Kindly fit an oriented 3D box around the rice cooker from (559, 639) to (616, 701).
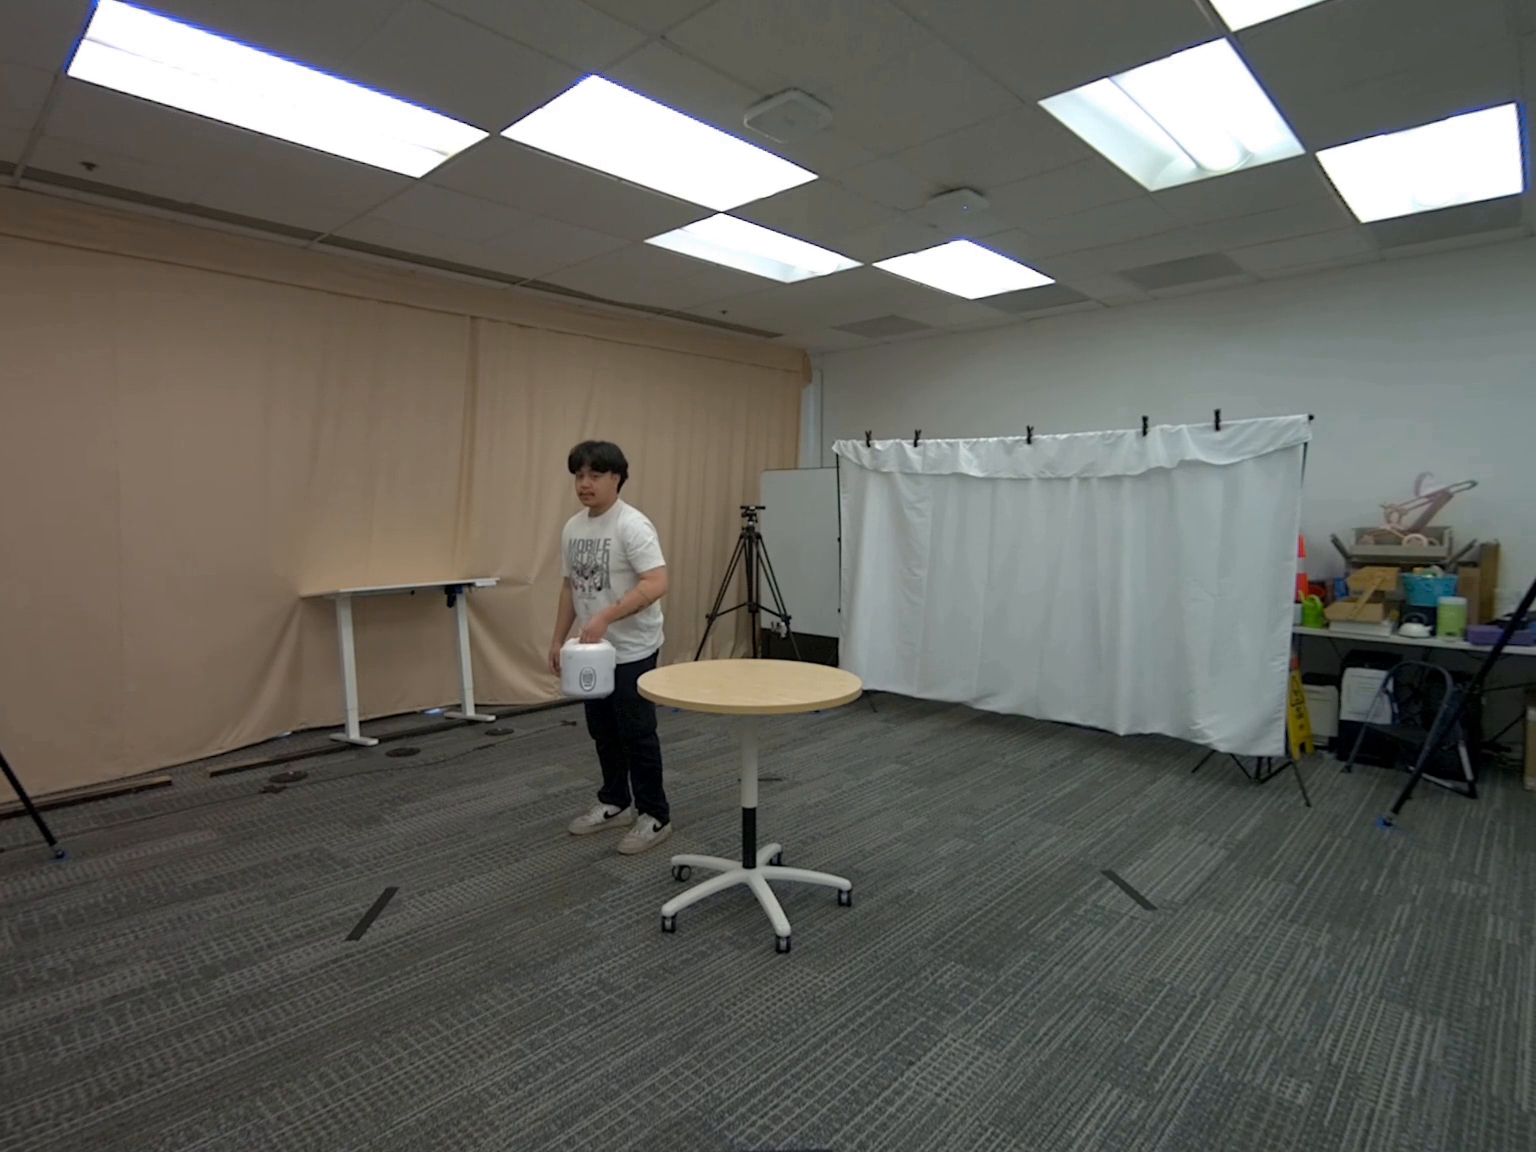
[{"bbox_3d":[-0.702,0.353,3.273,0.218,0.233,0.219,-1,-1,-10],"label":"rice cooker"}]
